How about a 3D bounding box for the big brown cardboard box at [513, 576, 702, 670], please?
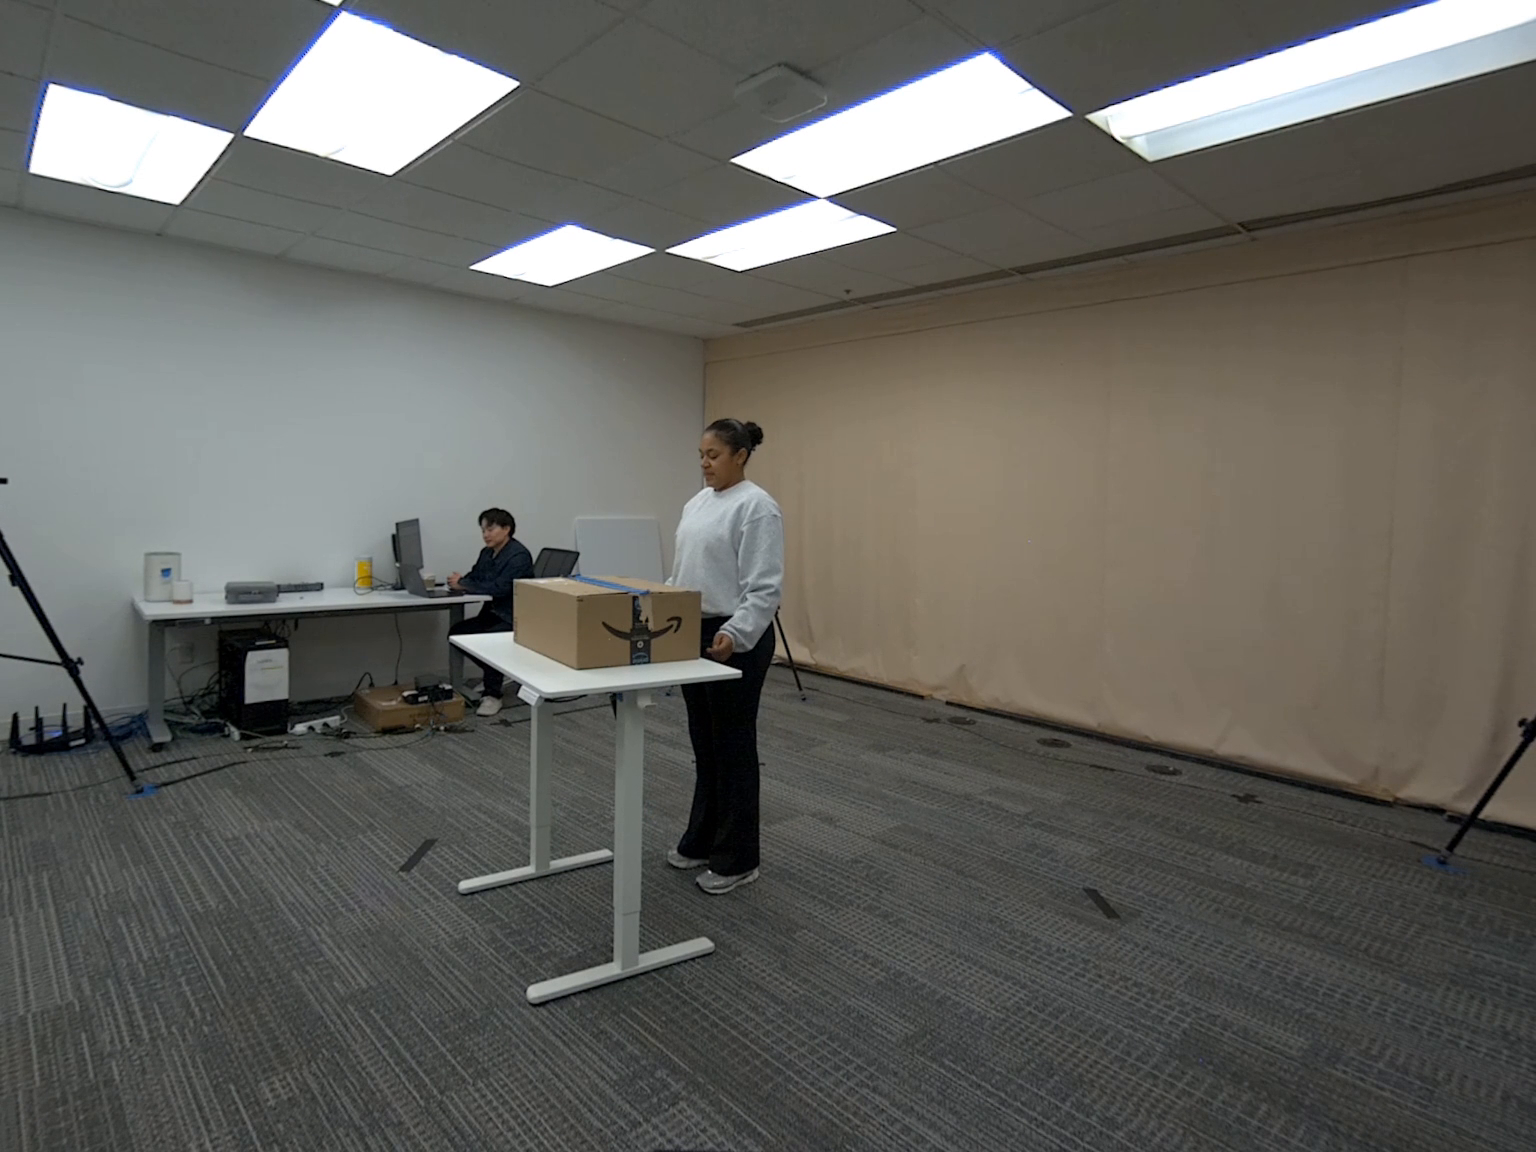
[{"bbox_3d":[-0.549,0.136,2.765,0.408,0.232,0.604,-2,7,-35],"label":"big brown cardboard box"}]
